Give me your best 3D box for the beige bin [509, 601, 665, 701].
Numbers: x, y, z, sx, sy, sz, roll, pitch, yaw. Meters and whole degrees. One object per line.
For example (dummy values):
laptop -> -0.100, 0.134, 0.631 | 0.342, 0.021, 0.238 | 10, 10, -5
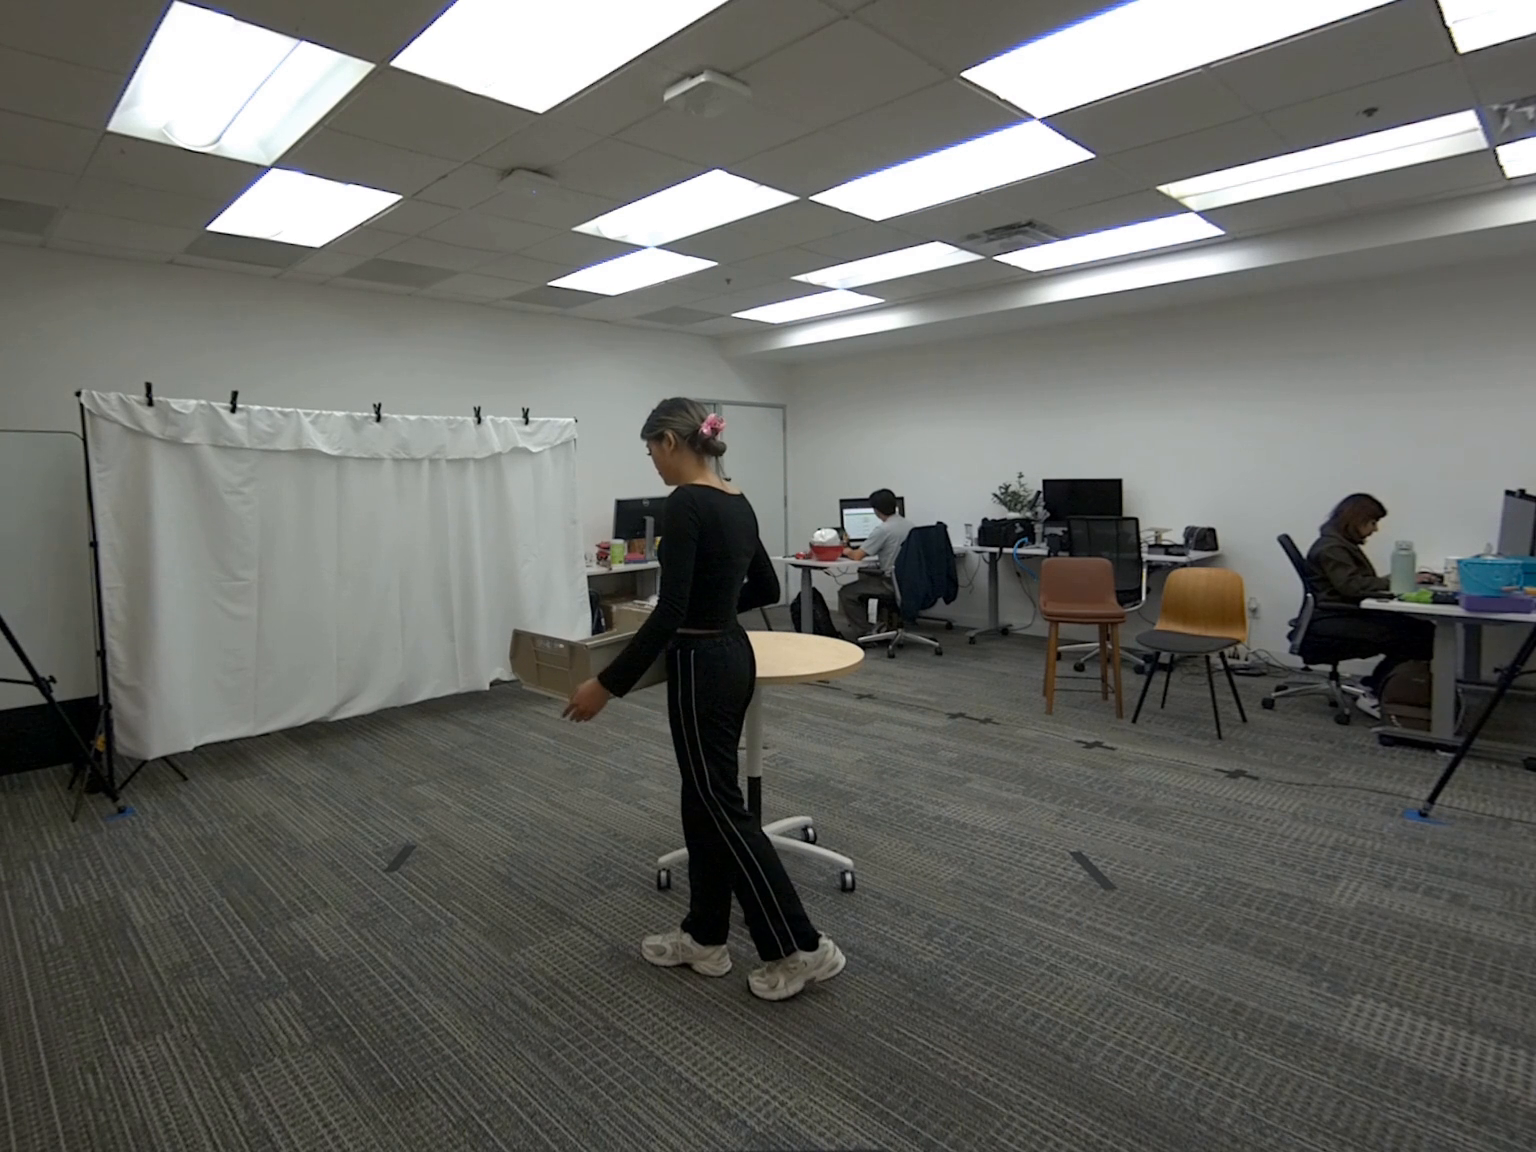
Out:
beige bin -> -0.486, 0.221, 2.526 | 0.389, 0.188, 0.412 | 7, 11, 40
